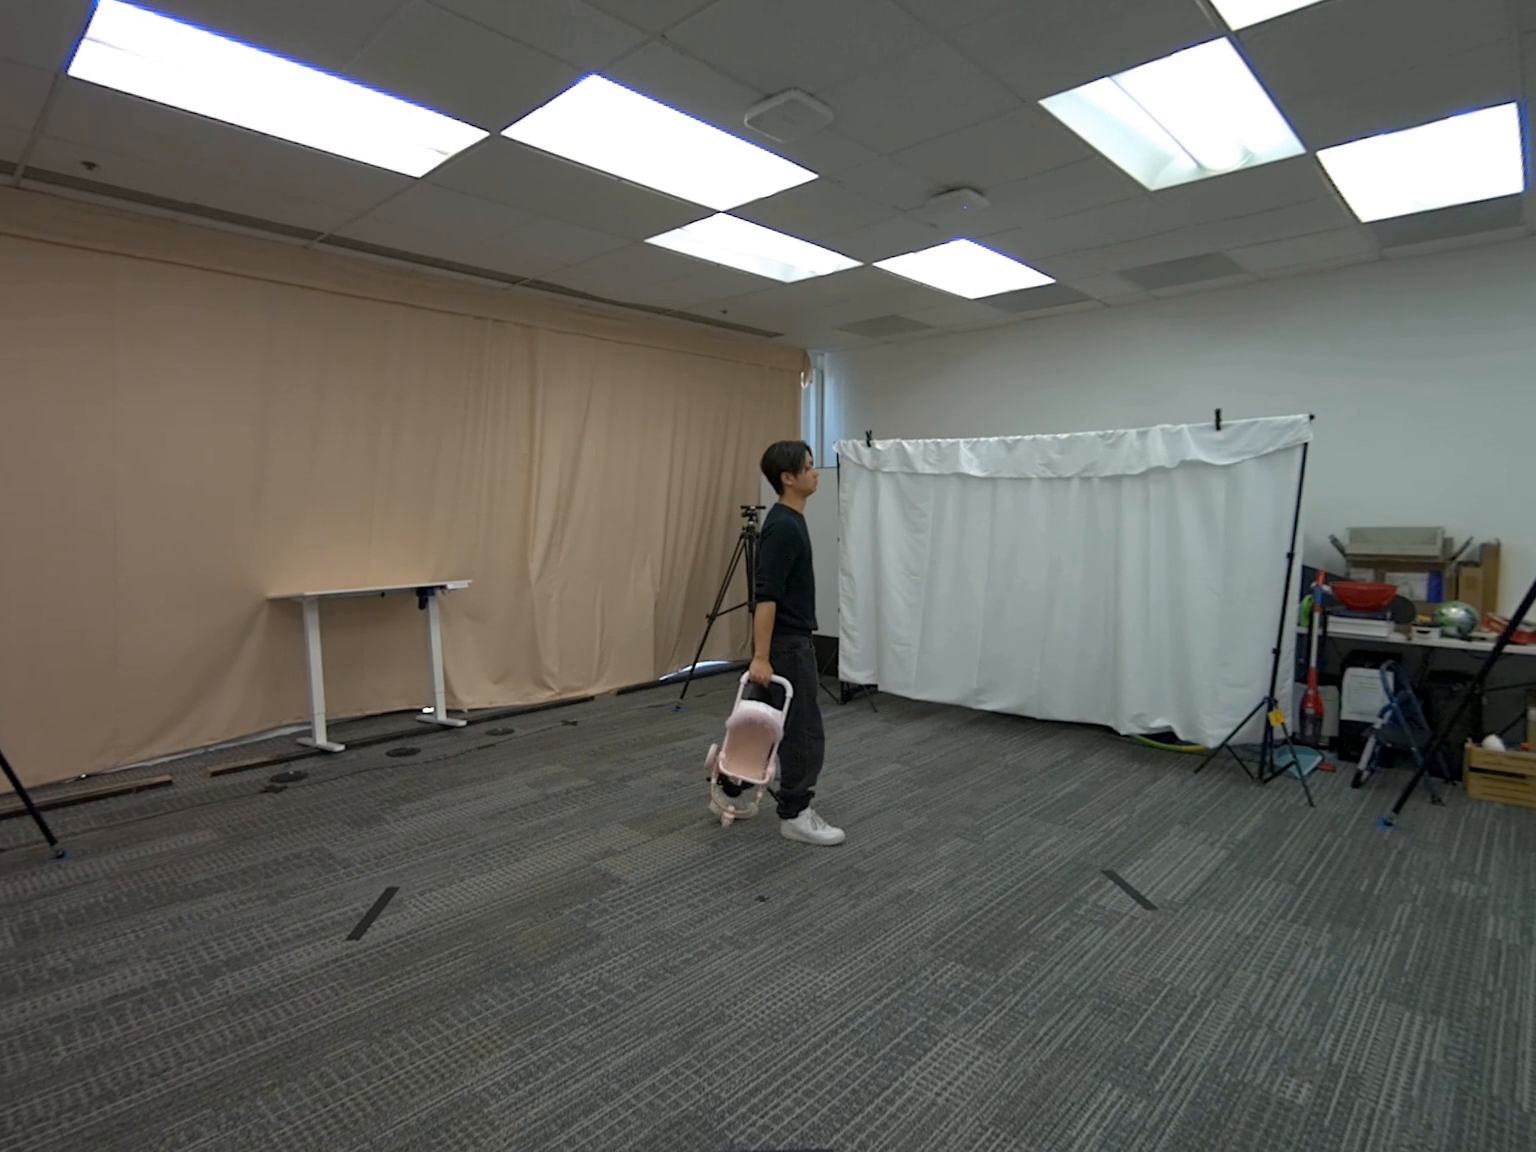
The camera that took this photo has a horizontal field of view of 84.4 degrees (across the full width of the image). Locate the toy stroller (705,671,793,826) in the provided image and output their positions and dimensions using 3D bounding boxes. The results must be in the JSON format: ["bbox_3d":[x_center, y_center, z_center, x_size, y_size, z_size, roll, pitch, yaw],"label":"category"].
[{"bbox_3d":[-0.080,0.682,3.243,0.283,0.531,0.341,19,25,3],"label":"toy stroller"}]
